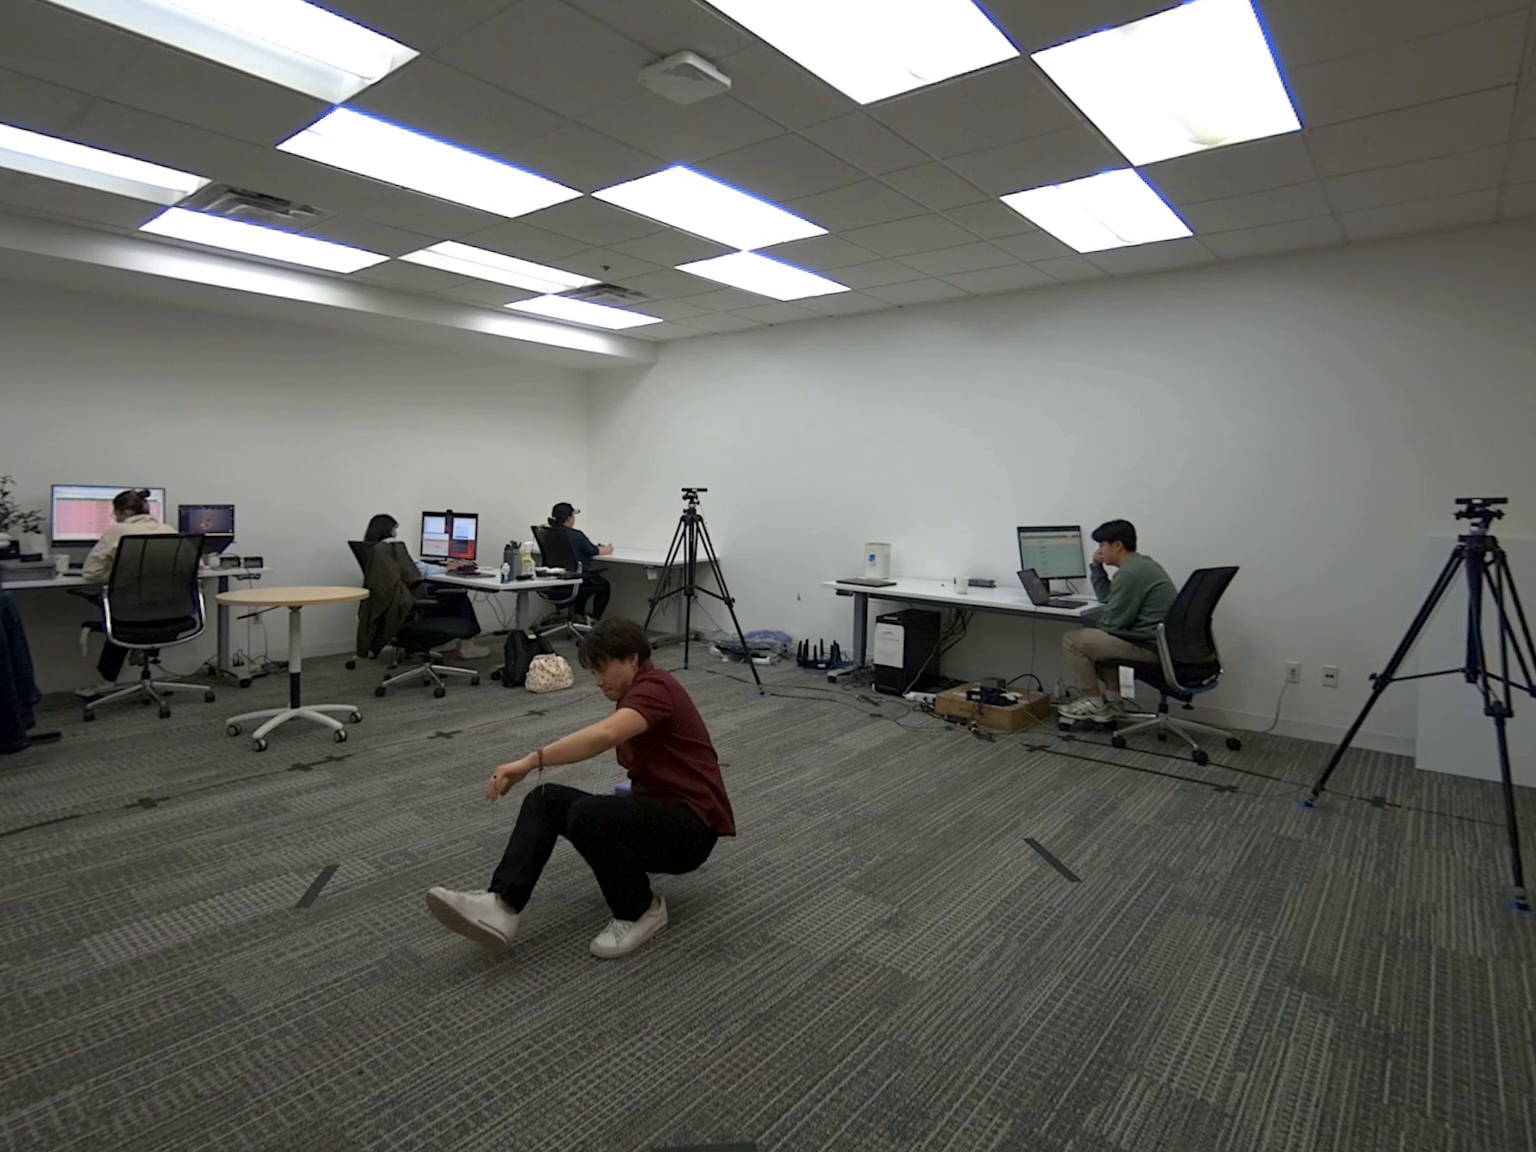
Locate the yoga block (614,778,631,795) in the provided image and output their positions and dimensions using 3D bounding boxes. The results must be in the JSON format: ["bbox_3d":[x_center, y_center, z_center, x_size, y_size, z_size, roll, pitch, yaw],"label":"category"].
[{"bbox_3d":[-0.546,0.920,3.354,0.078,0.229,0.145,2,3,27],"label":"yoga block"}]
